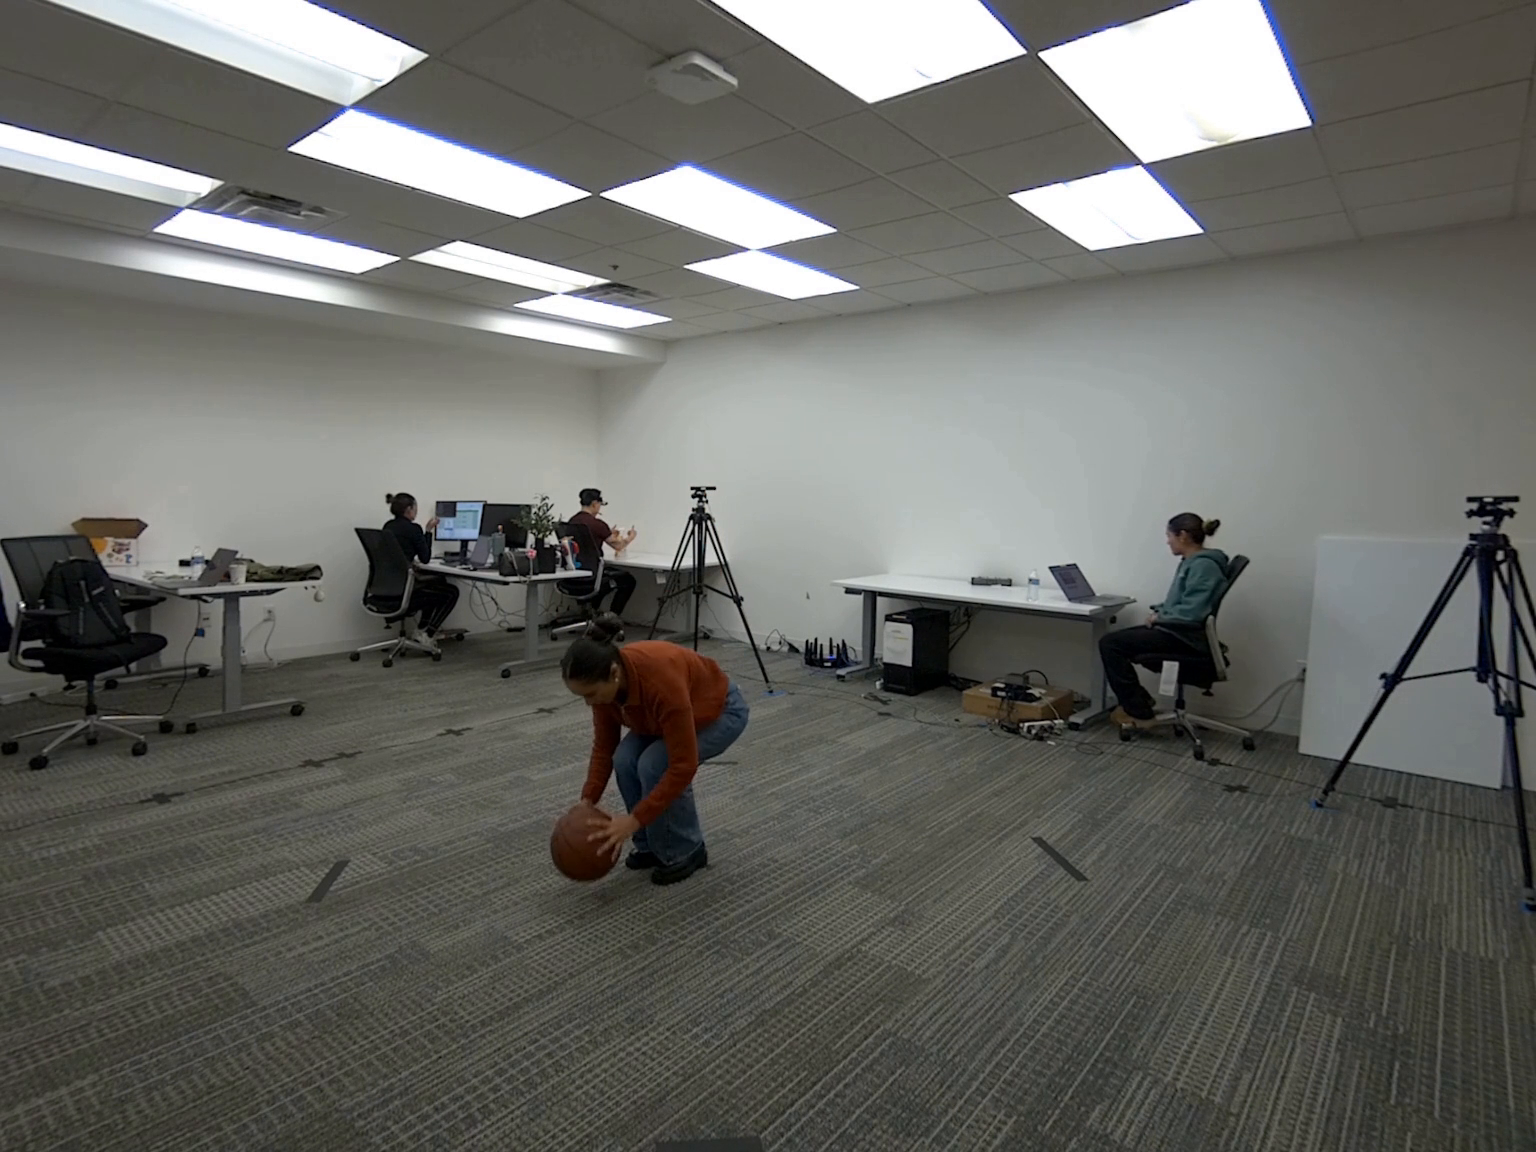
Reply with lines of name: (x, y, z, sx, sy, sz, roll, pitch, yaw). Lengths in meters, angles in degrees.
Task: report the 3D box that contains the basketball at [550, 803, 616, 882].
basketball: (-0.604, 0.852, 2.821, 0.235, 0.235, 0.237, 1, 4, -2)
